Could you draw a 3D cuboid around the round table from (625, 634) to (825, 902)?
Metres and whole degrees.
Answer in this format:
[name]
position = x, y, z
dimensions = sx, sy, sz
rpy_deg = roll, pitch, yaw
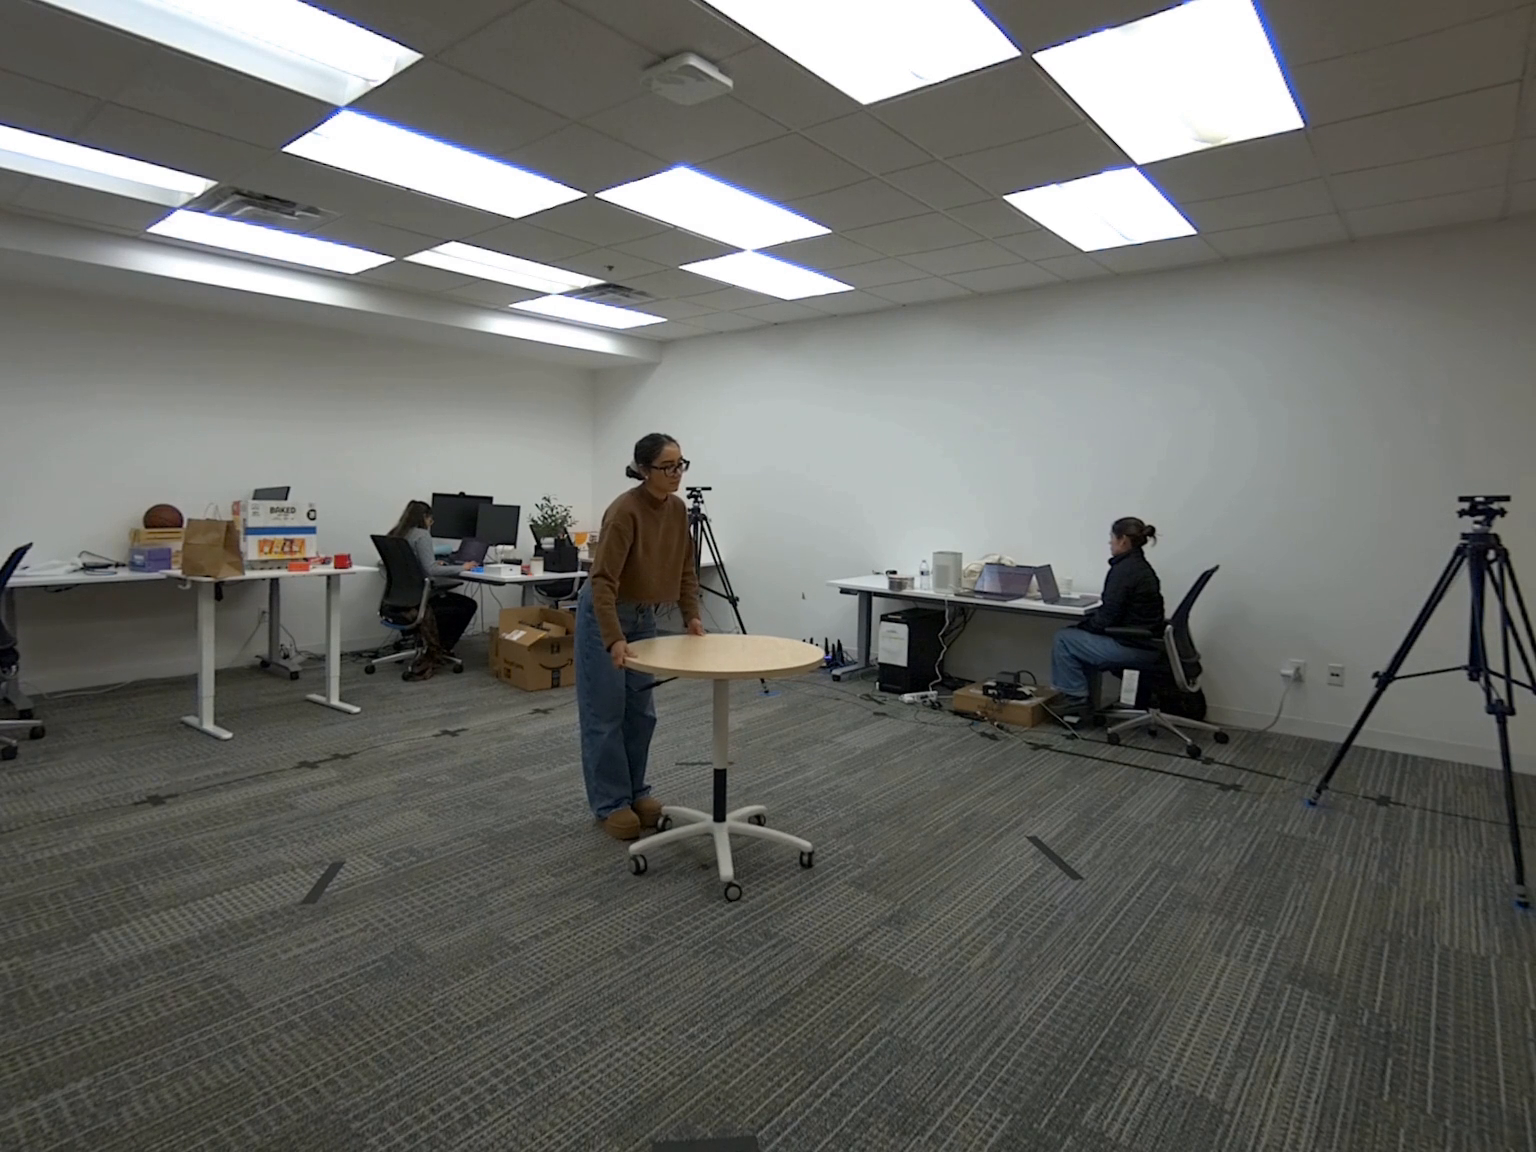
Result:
[round table]
position = -0.180, 0.669, 3.184
dimensions = 0.763, 0.792, 0.767
rpy_deg = 1, 4, -2
